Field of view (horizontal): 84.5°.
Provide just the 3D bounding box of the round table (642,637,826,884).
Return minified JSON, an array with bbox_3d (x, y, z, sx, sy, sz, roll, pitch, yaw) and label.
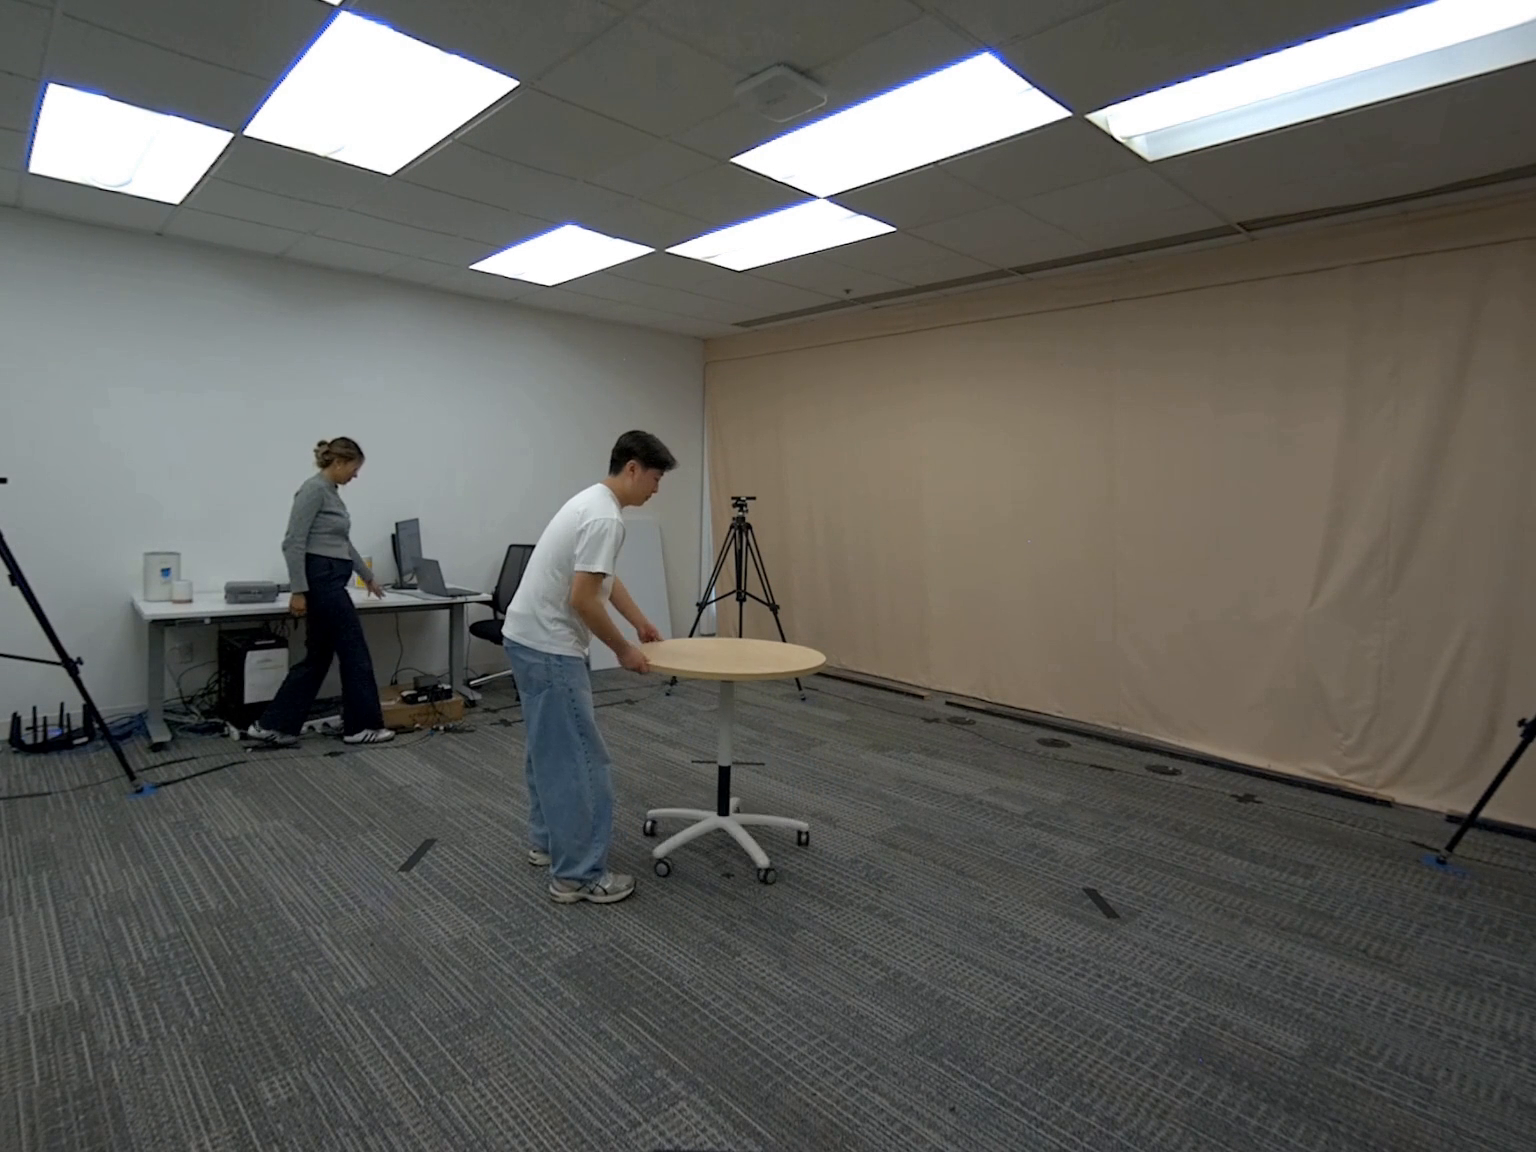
[{"bbox_3d":[-0.166,0.690,3.315,0.784,0.784,0.787,1,4,-1],"label":"round table"}]
